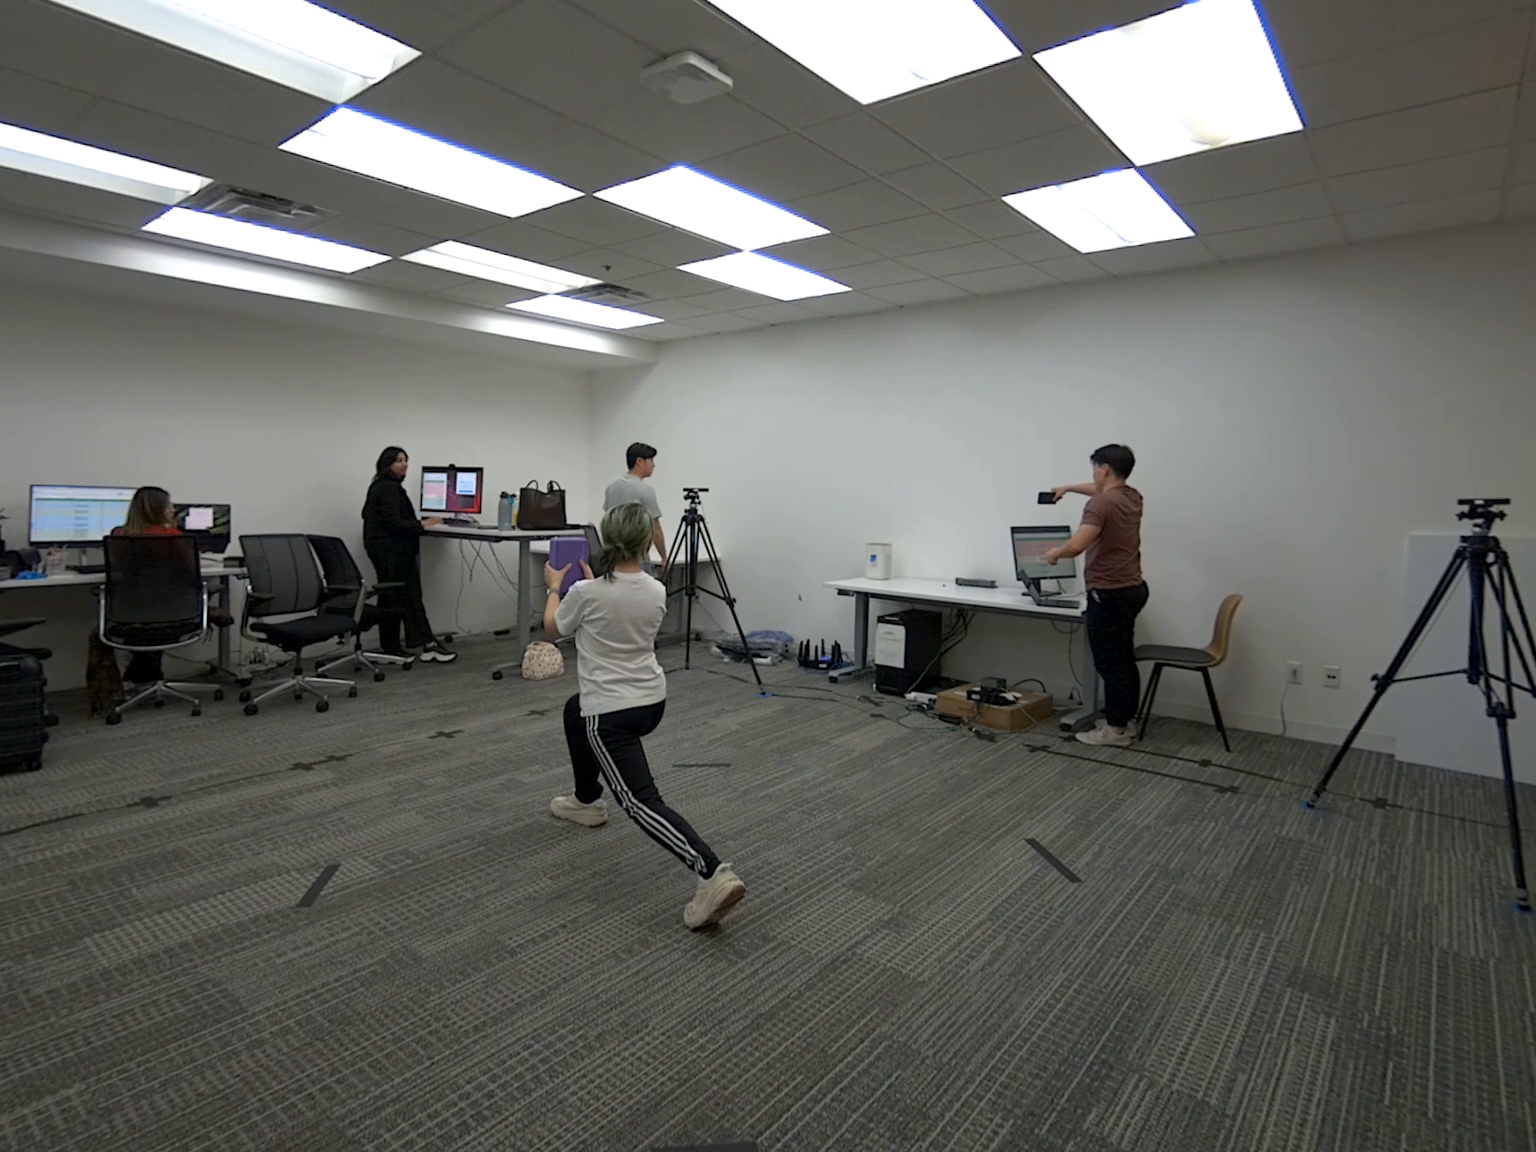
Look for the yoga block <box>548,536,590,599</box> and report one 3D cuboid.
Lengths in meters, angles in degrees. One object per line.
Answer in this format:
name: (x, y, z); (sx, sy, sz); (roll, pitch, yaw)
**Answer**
yoga block: (-0.853, -0.048, 3.597); (0.144, 0.228, 0.079); (0, 5, -39)
